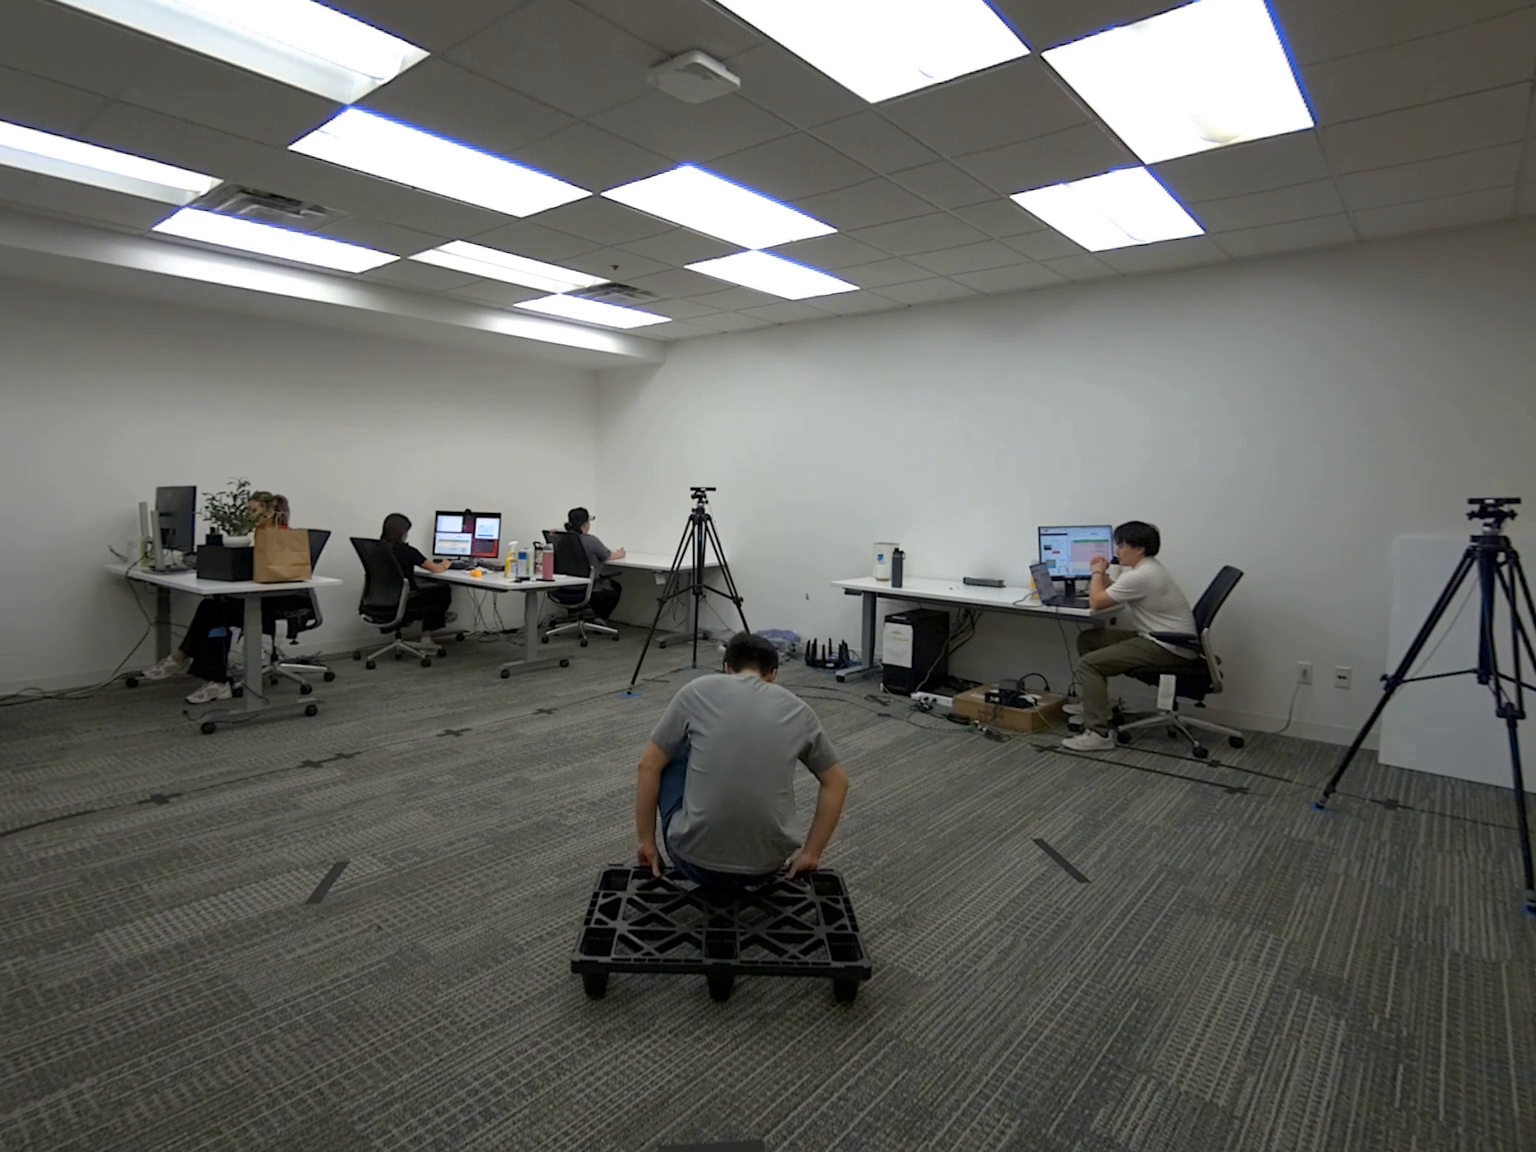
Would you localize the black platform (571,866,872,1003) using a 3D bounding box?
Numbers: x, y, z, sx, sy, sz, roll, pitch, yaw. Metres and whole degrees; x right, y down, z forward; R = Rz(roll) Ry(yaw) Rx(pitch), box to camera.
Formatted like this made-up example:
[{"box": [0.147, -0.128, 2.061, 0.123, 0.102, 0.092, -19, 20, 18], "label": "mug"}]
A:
[{"box": [-0.153, 1.052, 2.532, 0.805, 0.143, 0.607, 1, 4, -1], "label": "black platform"}]
